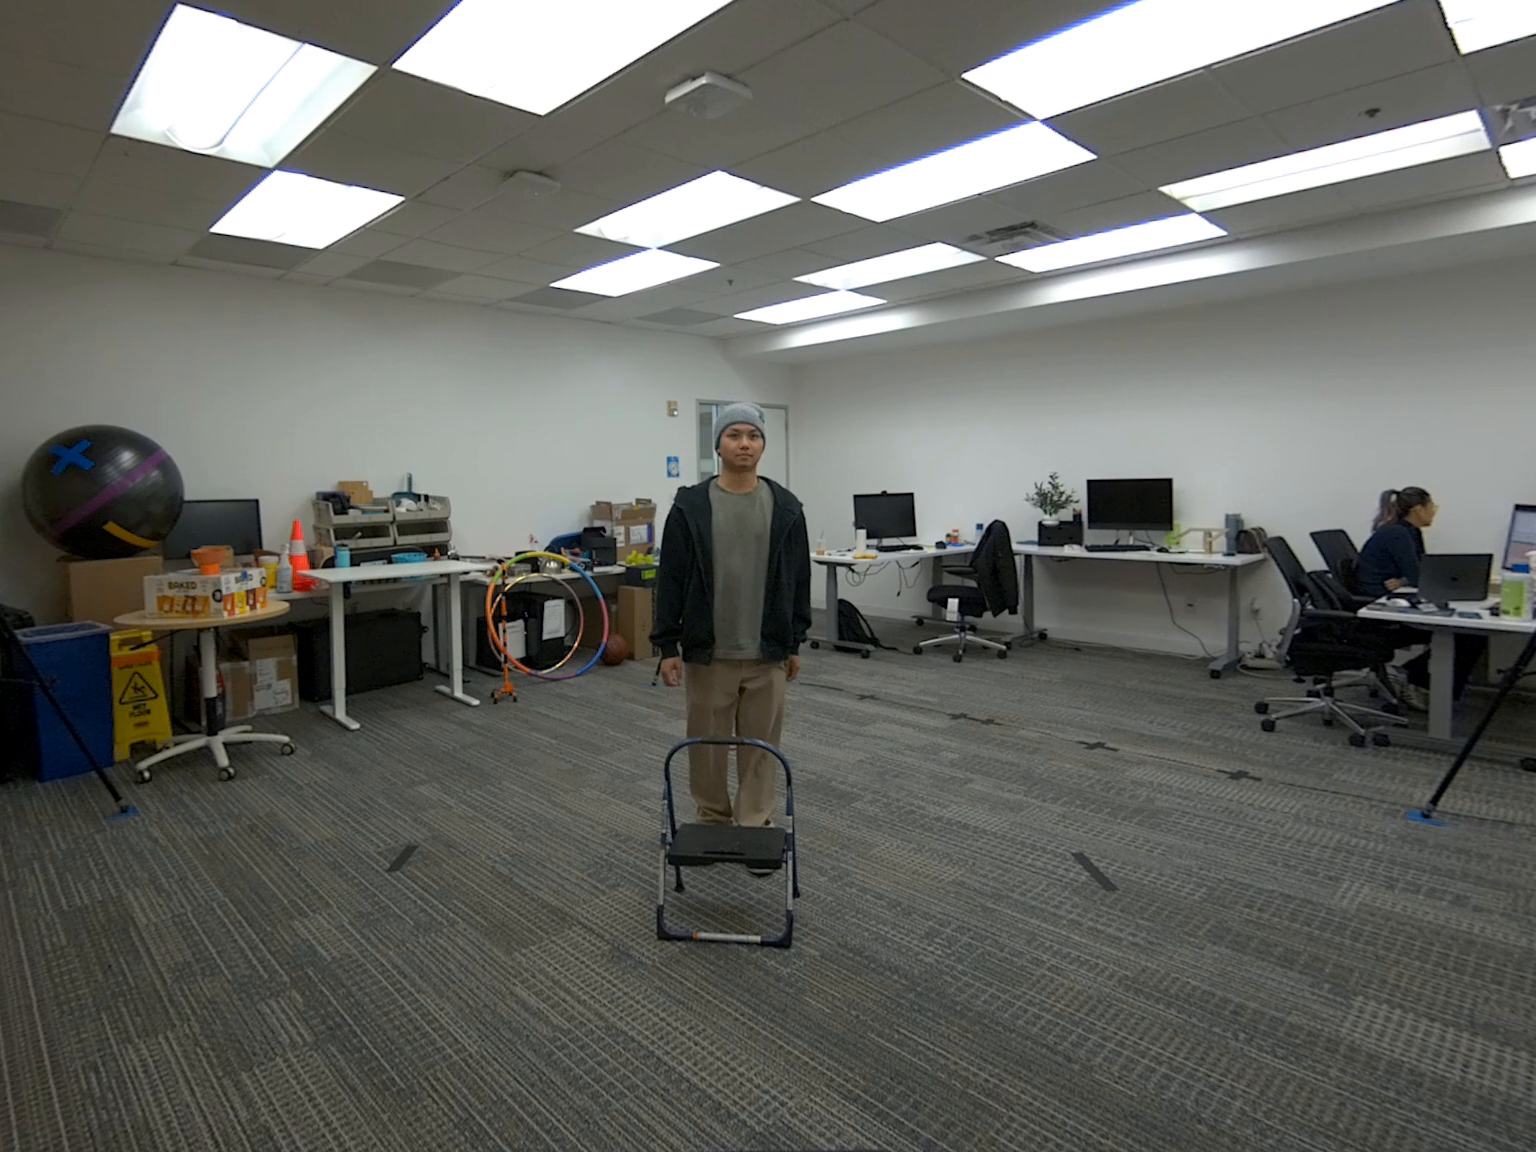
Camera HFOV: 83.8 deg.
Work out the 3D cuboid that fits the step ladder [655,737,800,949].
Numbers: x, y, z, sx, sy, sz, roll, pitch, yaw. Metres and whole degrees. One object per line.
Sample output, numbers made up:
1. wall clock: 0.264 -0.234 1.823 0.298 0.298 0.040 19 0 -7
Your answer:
1. step ladder: -0.125 0.793 2.719 0.434 0.604 0.348 -1 4 6
